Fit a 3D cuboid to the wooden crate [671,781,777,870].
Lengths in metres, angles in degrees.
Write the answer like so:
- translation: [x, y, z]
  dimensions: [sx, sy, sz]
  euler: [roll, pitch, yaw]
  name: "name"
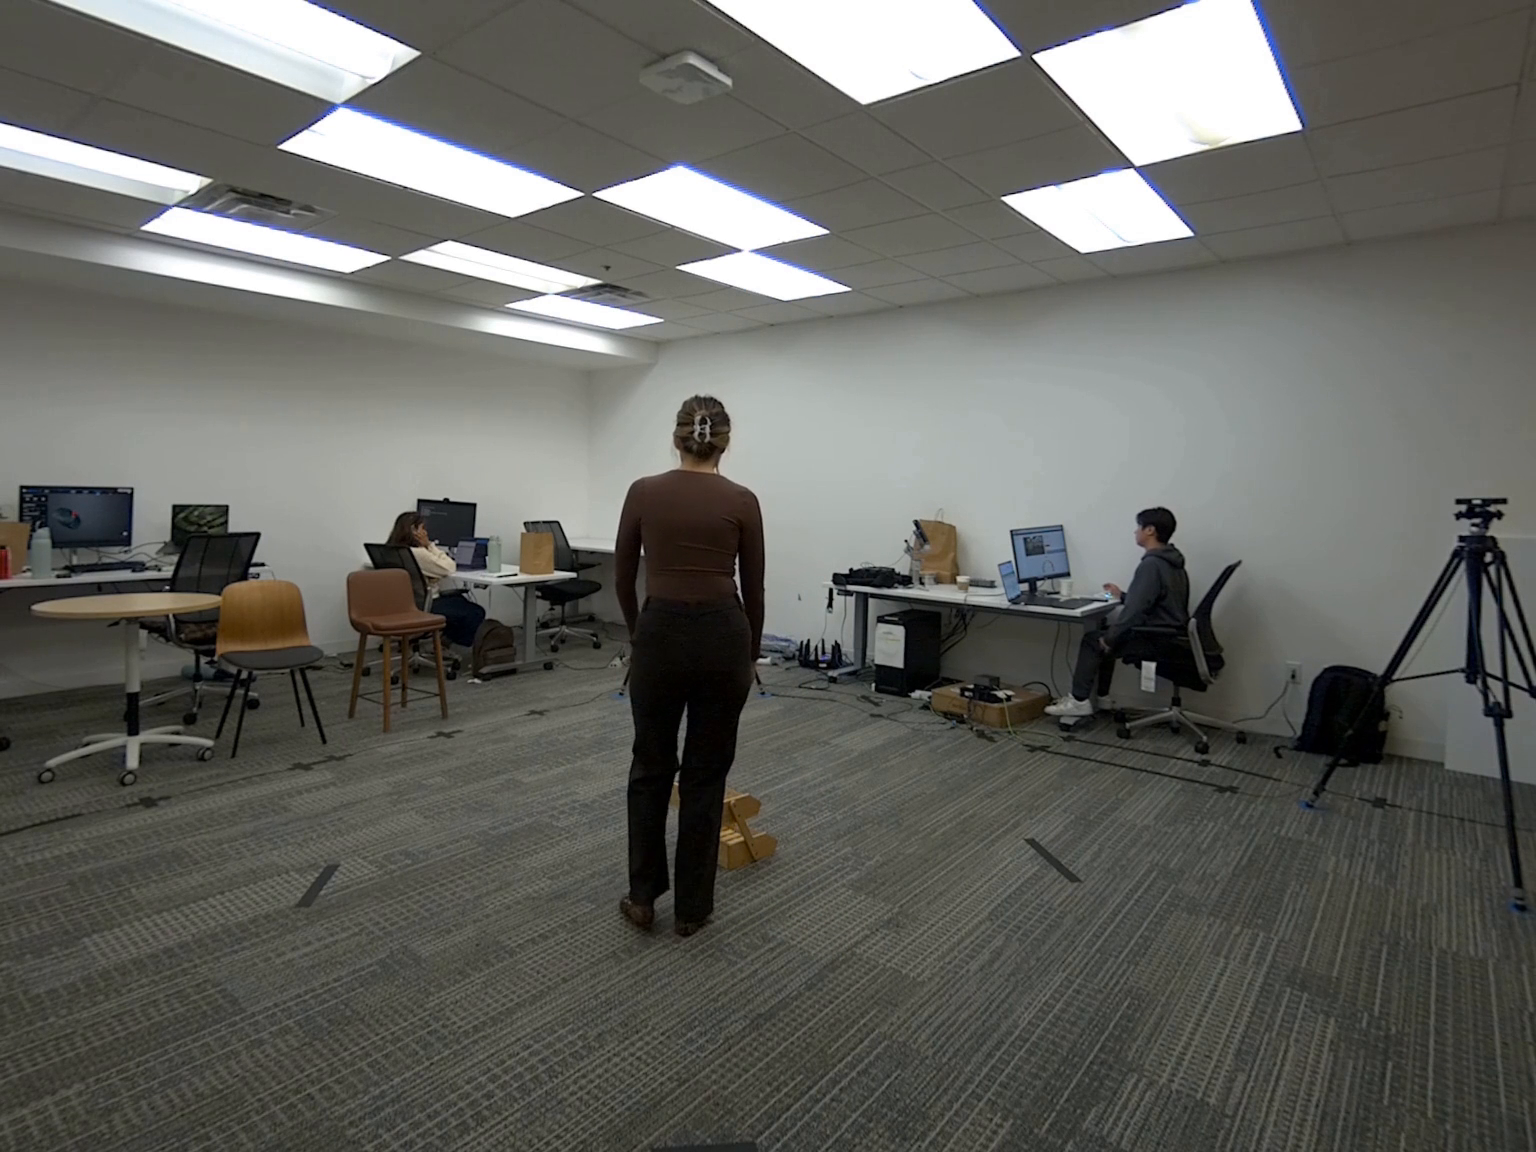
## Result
- translation: [-0.179, 0.921, 3.279]
  dimensions: [0.293, 0.272, 0.335]
  euler: [-3, 6, -42]
  name: "wooden crate"
